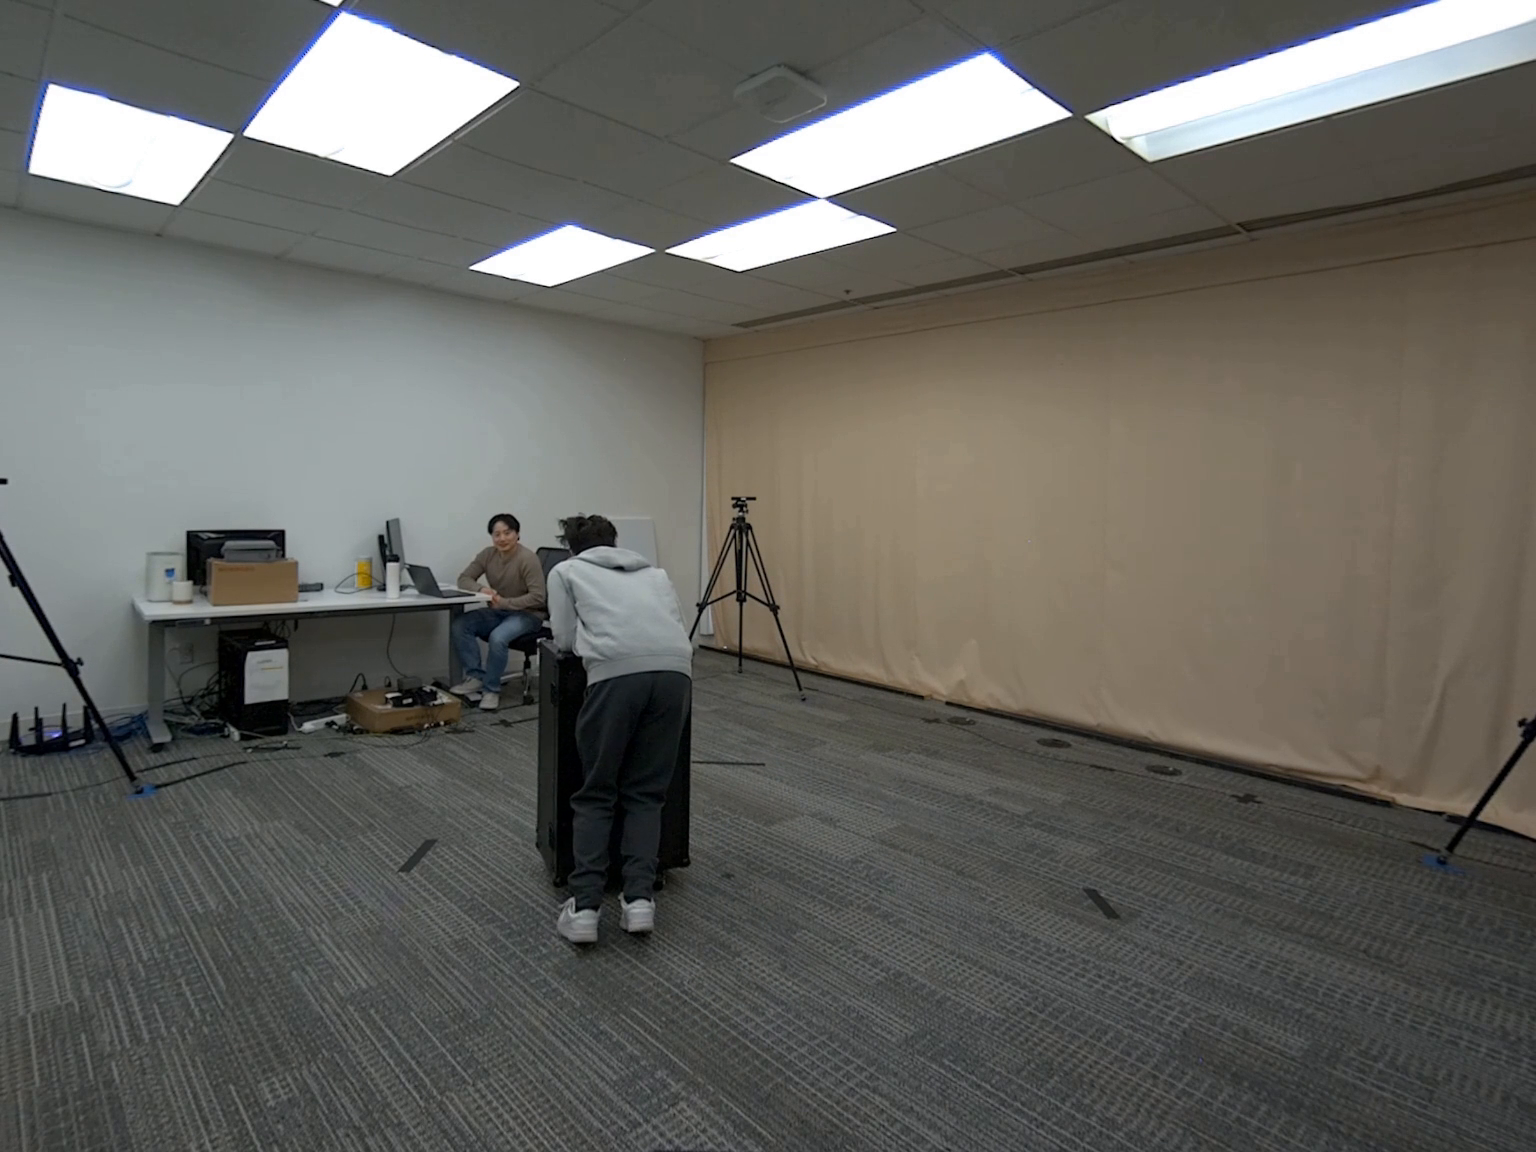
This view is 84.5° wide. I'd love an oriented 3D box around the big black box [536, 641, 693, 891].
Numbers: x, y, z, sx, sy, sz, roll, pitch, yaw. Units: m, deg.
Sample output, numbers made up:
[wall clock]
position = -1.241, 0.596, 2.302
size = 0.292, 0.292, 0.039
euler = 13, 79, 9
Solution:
[big black box]
position = -0.582, 0.678, 3.086
size = 0.512, 0.860, 0.404
euler = 0, 2, -24
